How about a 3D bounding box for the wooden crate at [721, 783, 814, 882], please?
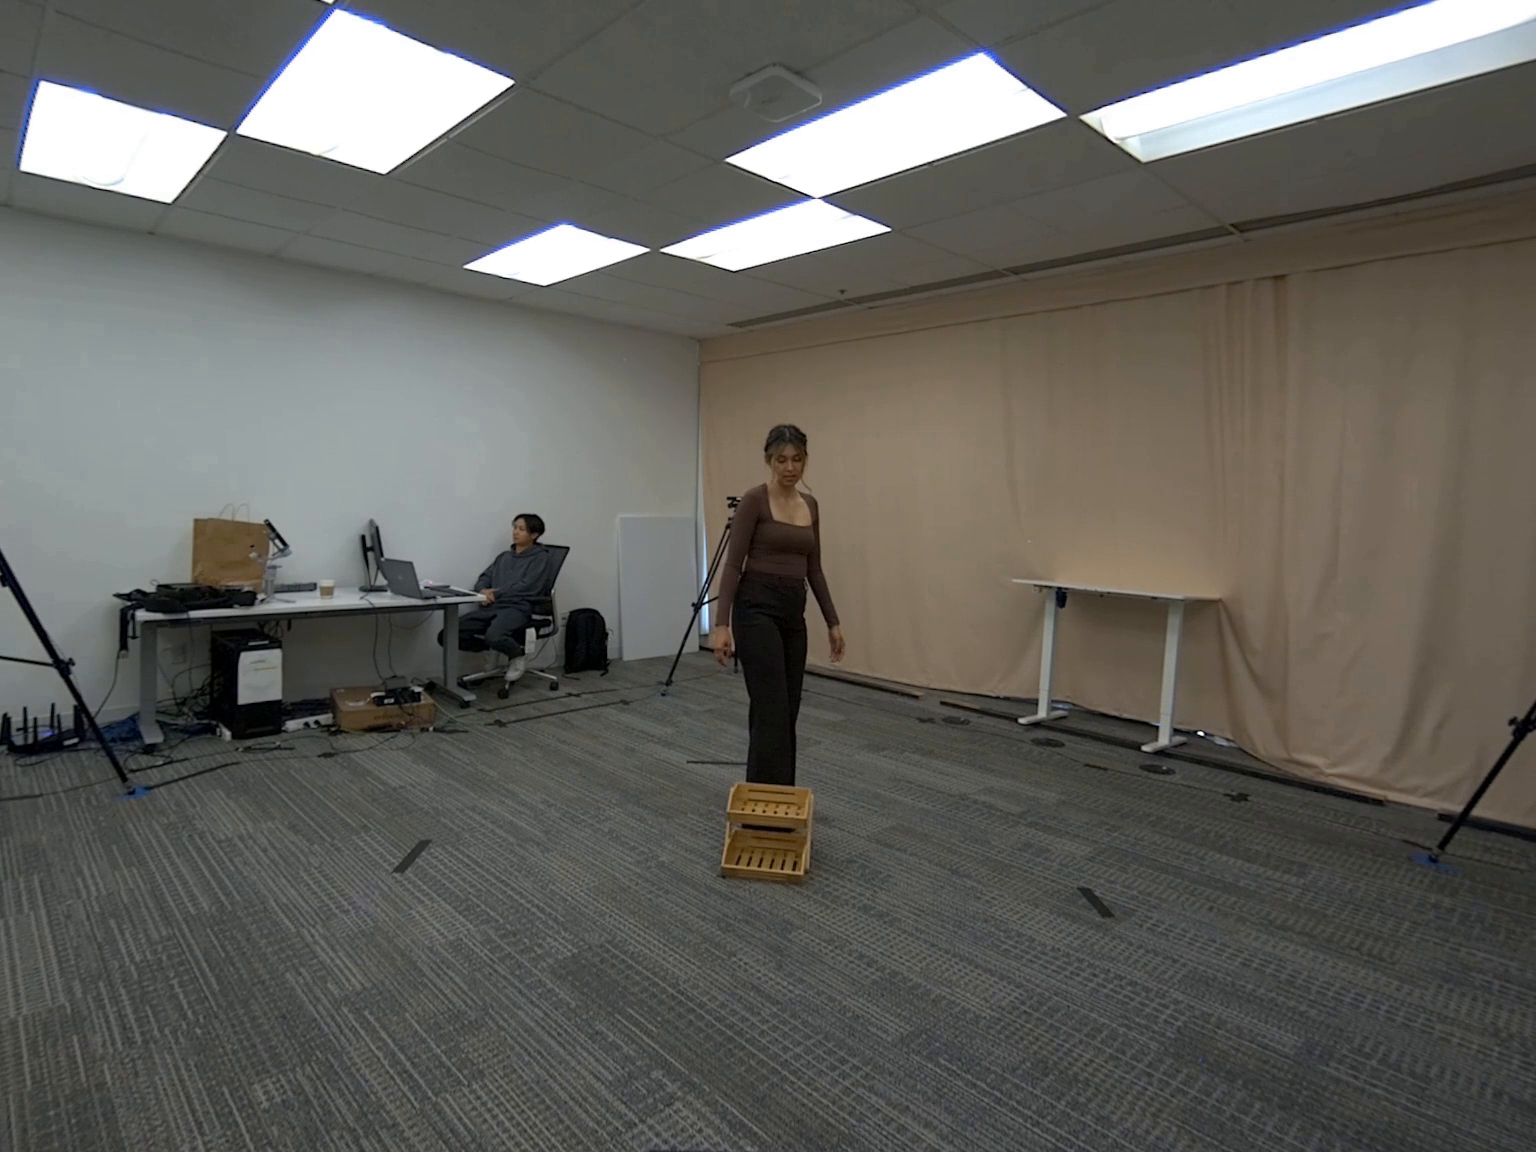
[{"bbox_3d":[-0.011,0.968,3.187,0.327,0.273,0.300,2,4,9],"label":"wooden crate"}]
